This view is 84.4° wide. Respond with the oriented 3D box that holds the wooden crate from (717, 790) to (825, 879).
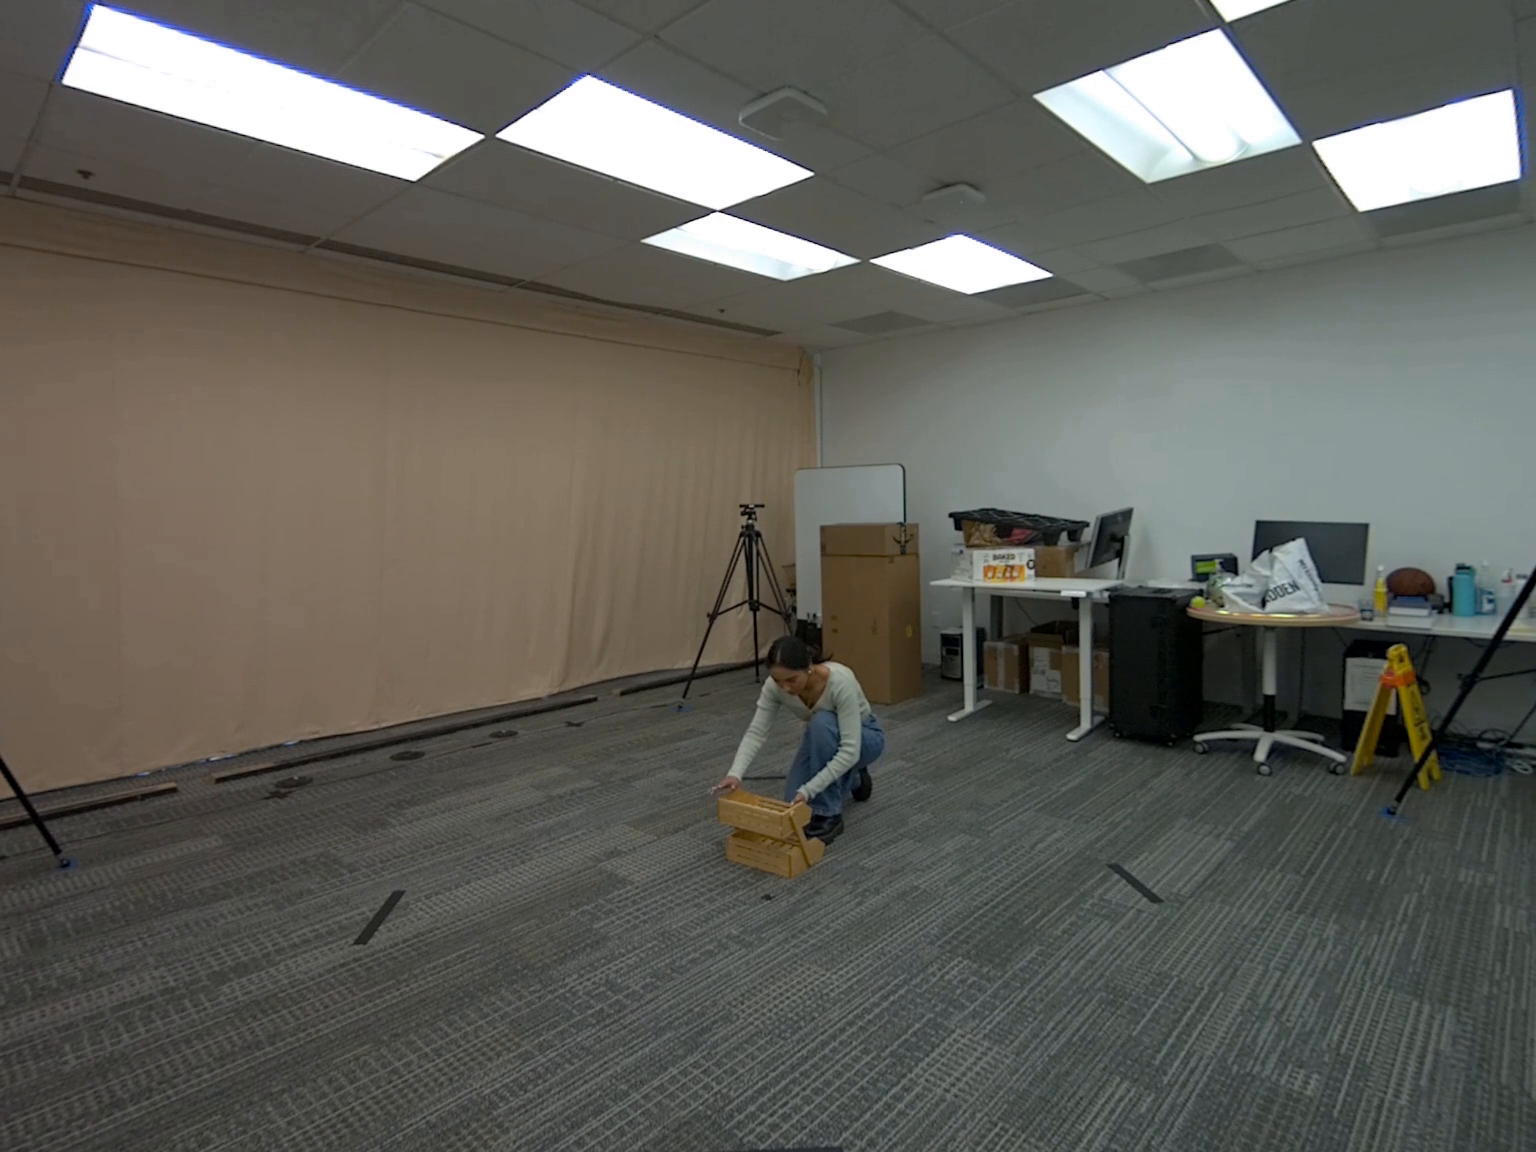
[{"bbox_3d":[0.016,0.977,3.288,0.334,0.272,0.294,2,7,35],"label":"wooden crate"}]
